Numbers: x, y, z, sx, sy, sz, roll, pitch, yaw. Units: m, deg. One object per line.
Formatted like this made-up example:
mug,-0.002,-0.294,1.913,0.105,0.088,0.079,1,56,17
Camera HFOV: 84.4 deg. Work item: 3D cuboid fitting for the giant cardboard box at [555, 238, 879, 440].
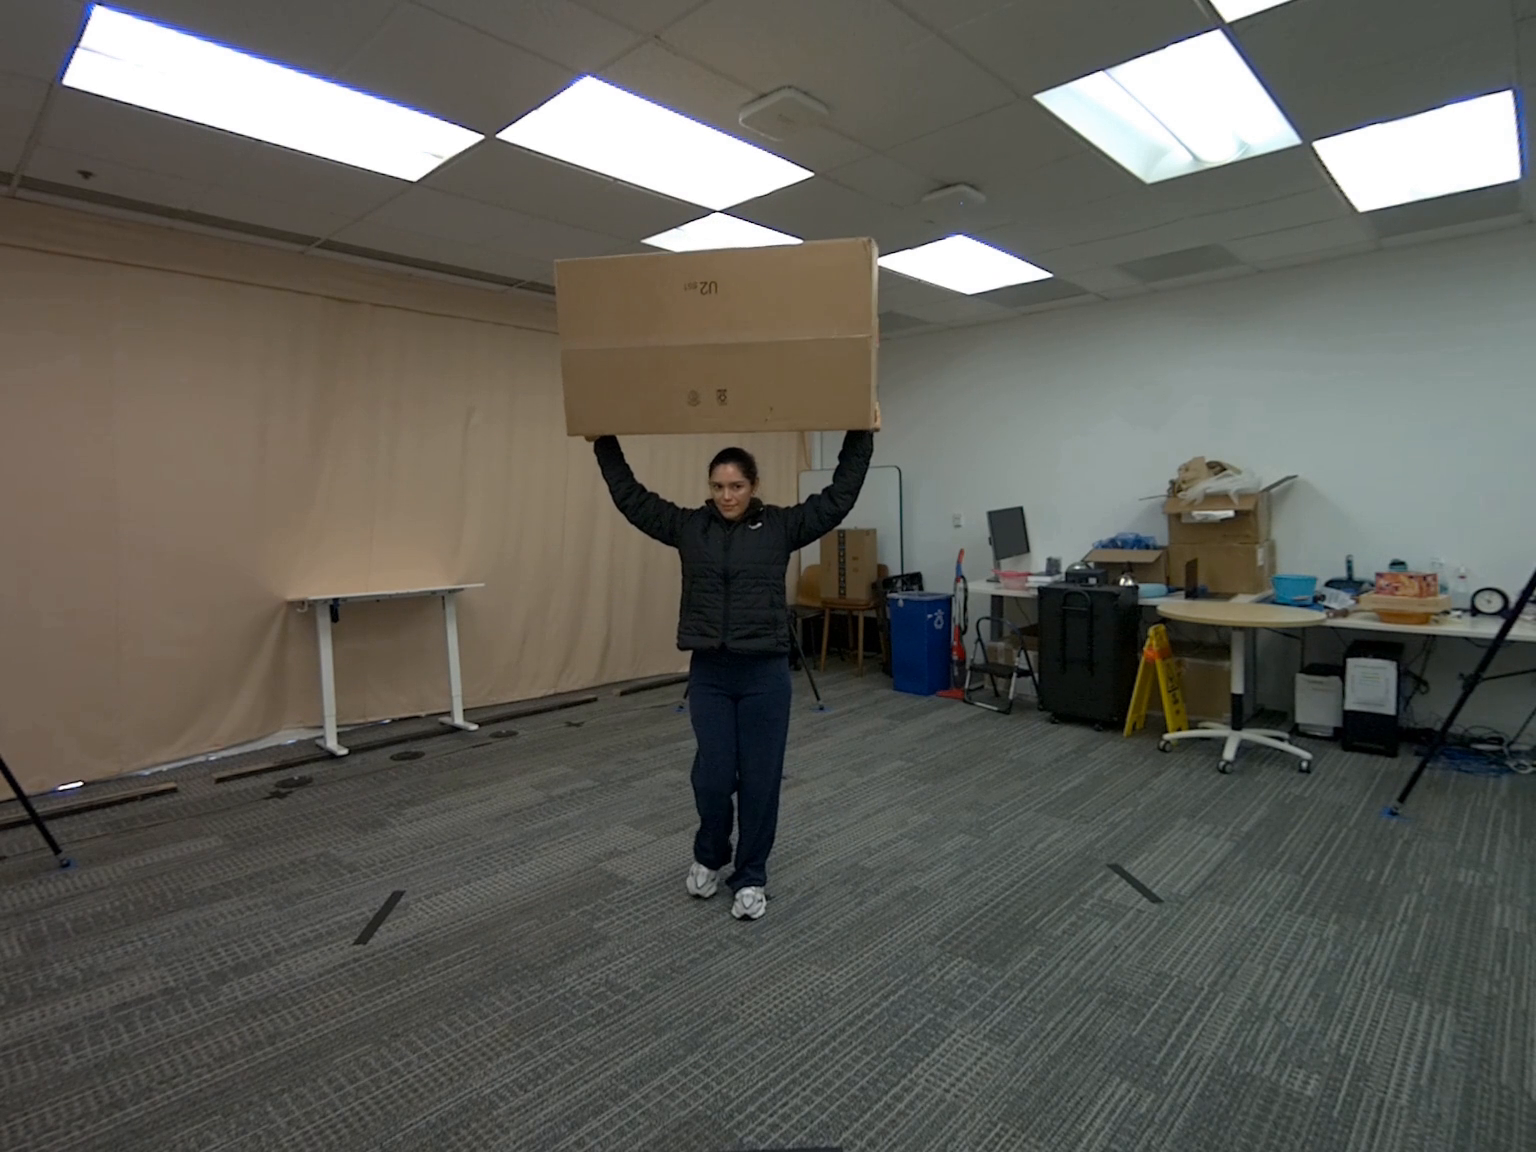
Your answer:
giant cardboard box,-0.136,-0.794,2.871,1.041,0.579,0.445,1,14,12
